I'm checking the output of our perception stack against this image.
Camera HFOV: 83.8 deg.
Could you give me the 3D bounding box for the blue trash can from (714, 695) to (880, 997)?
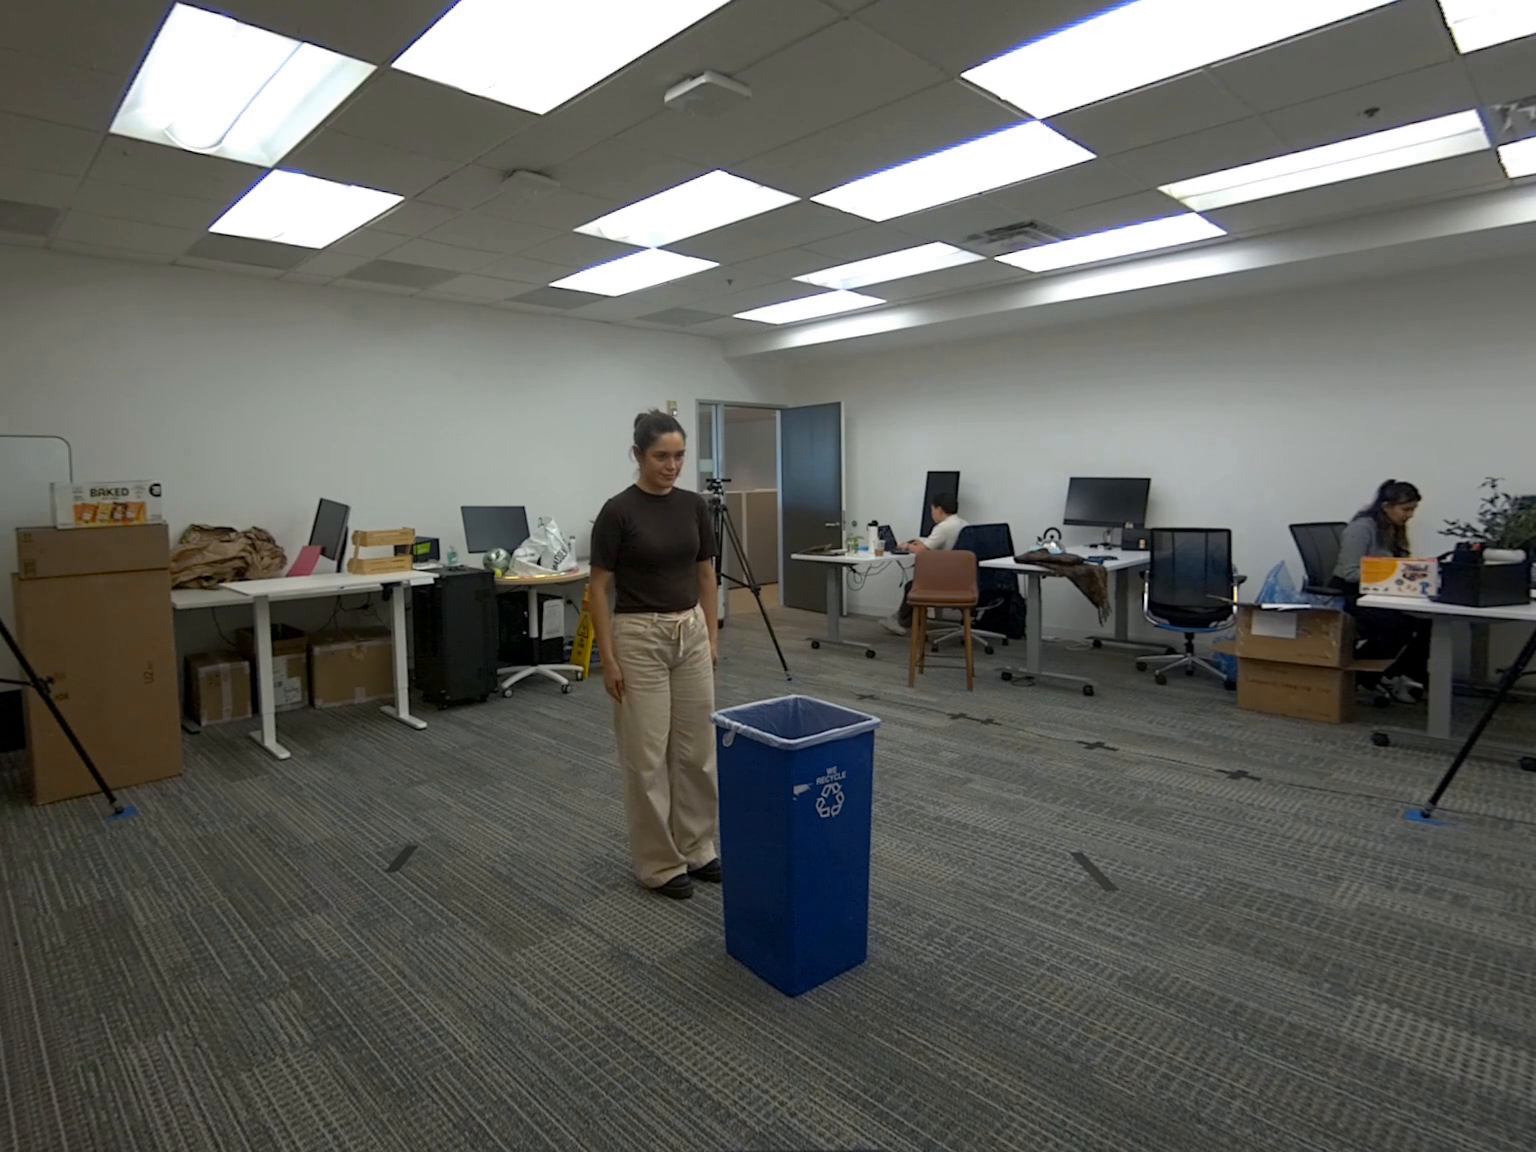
[{"bbox_3d":[0.090,0.759,2.472,0.368,0.711,0.385,-4,5,-40],"label":"blue trash can"}]
